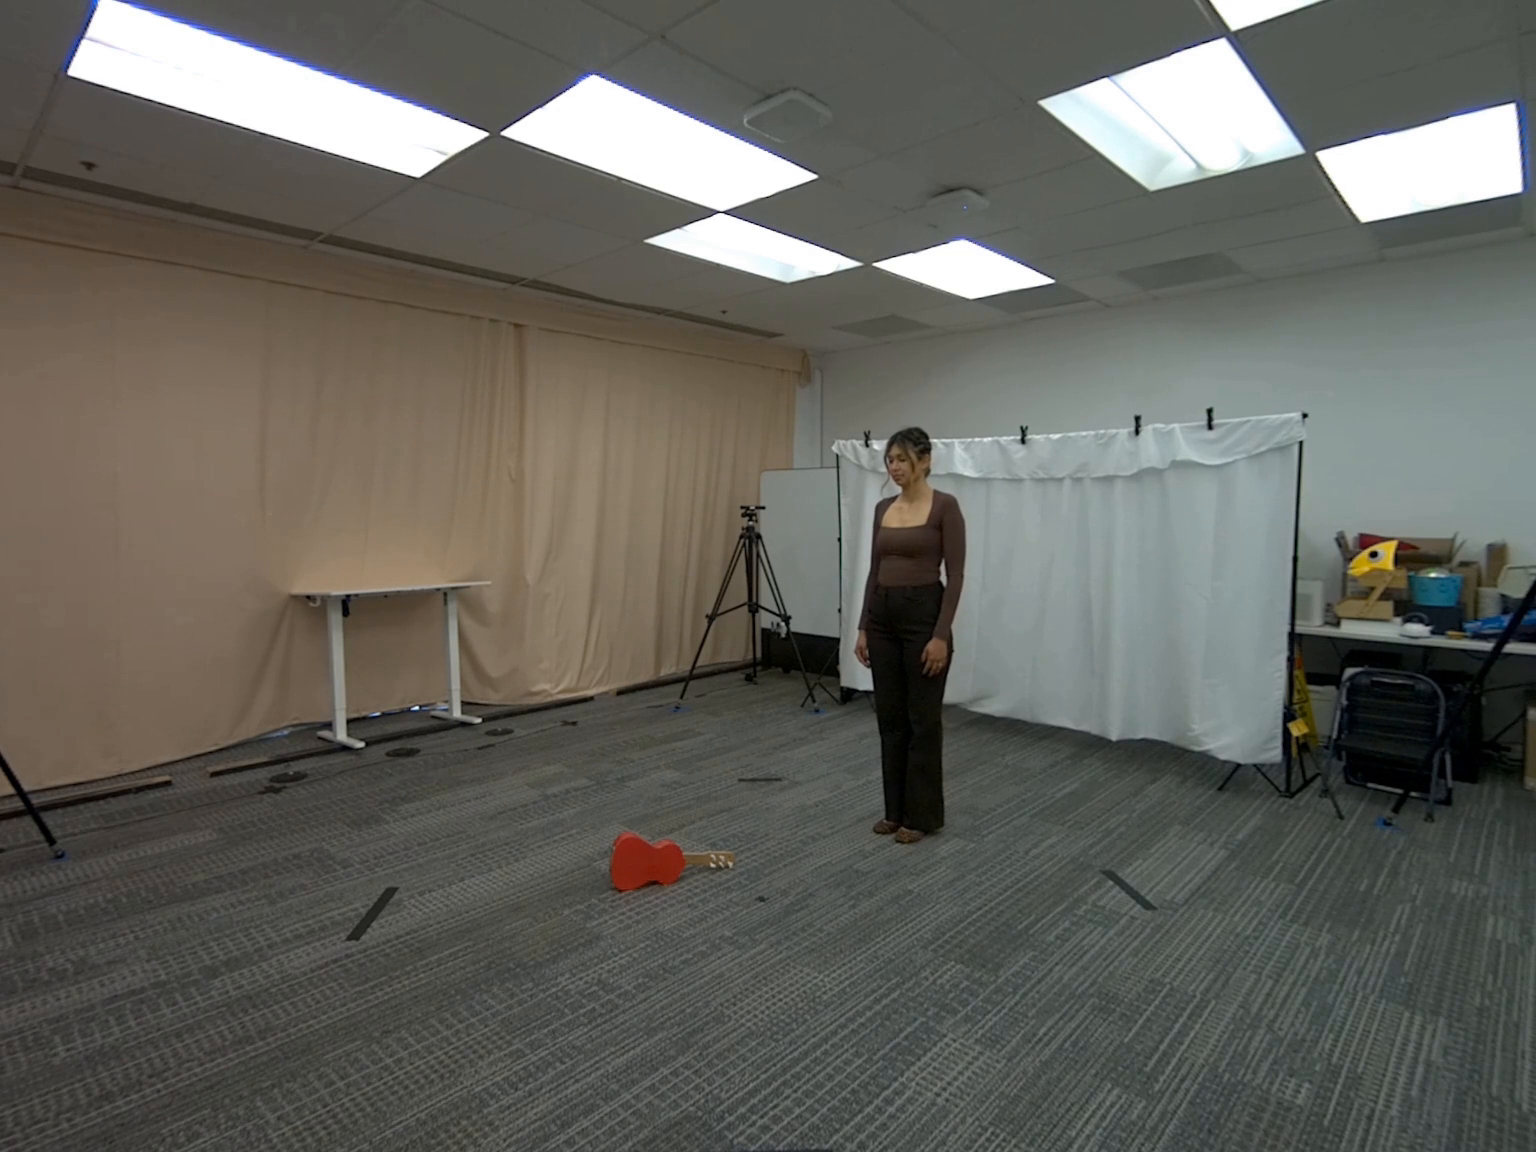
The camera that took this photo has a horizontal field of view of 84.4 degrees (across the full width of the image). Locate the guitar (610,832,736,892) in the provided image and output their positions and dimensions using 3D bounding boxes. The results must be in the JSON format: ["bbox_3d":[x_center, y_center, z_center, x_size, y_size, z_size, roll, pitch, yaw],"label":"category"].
[{"bbox_3d":[-0.348,1.037,3.148,0.487,0.193,0.072,-1,-1,-21],"label":"guitar"}]
